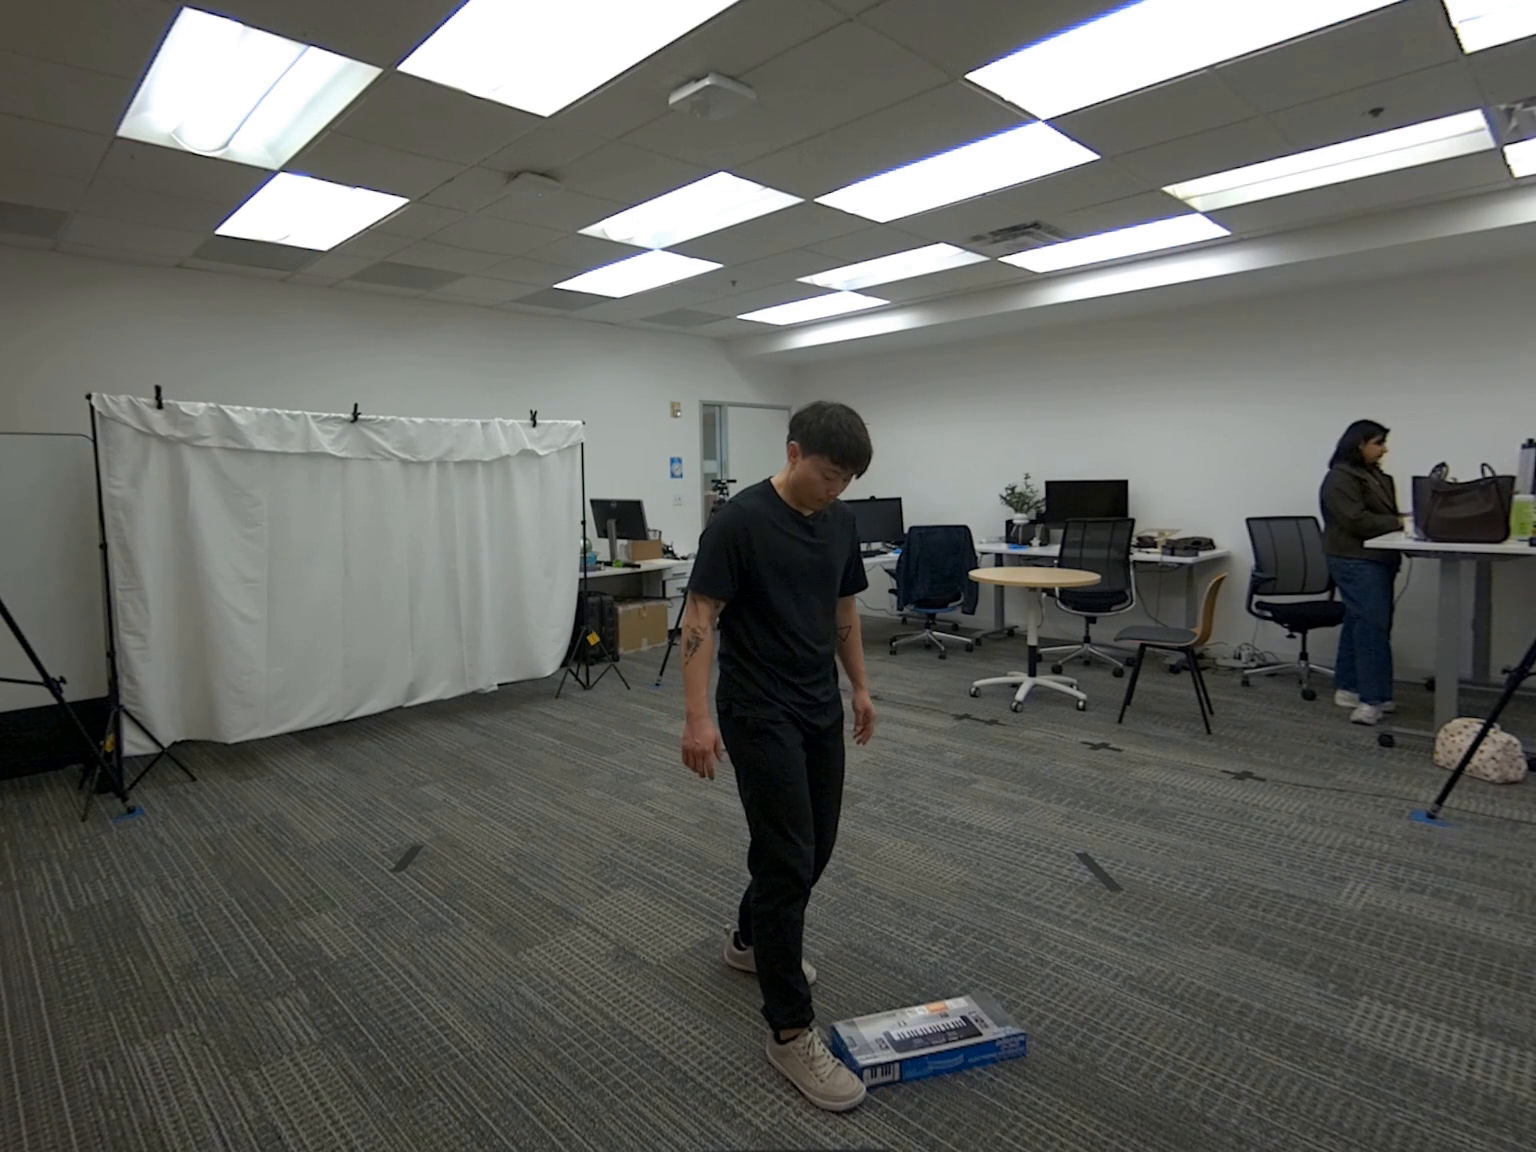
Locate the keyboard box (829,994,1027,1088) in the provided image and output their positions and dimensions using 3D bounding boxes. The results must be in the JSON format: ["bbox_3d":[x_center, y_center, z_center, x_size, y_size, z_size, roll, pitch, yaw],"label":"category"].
[{"bbox_3d":[0.392,1.128,2.083,0.431,0.059,0.179,-4,6,-15],"label":"keyboard box"}]
